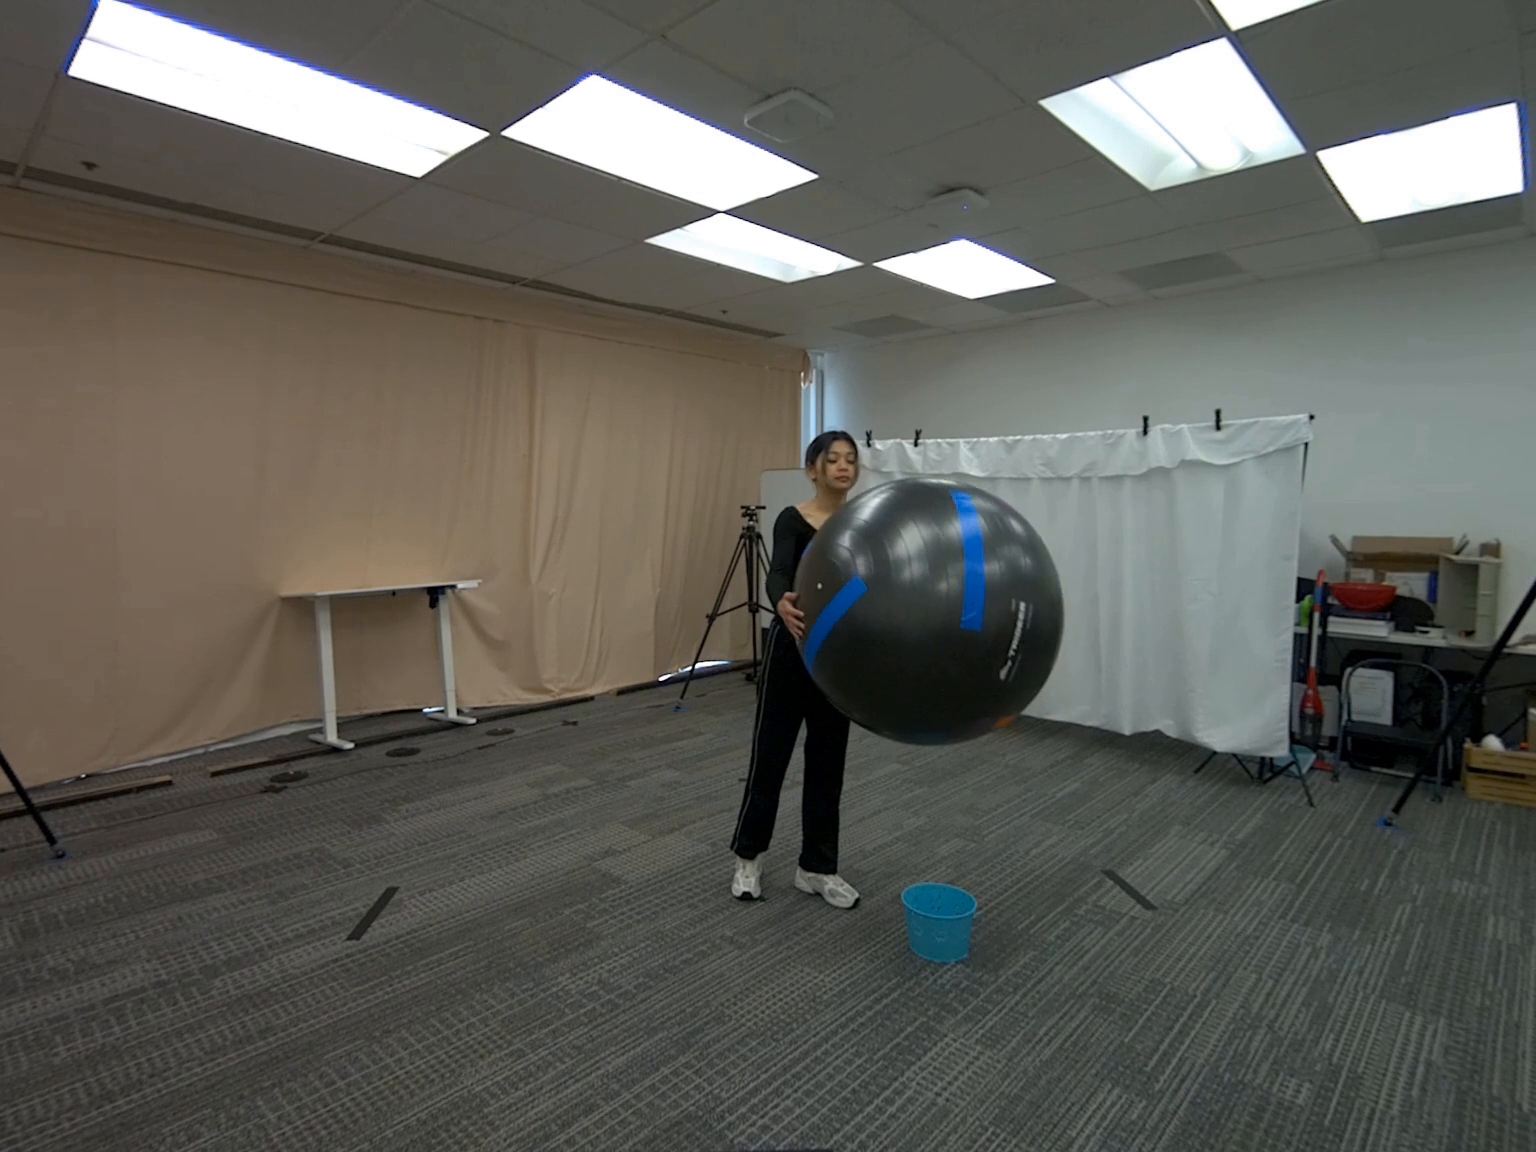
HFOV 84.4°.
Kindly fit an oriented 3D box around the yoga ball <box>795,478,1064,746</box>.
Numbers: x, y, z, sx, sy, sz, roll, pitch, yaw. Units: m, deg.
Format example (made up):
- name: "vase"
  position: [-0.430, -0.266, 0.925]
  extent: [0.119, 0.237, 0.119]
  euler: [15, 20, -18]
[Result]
- name: "yoga ball"
  position: [0.459, 0.109, 2.401]
  extent: [0.757, 0.756, 0.760]
  euler: [0, 4, -2]
